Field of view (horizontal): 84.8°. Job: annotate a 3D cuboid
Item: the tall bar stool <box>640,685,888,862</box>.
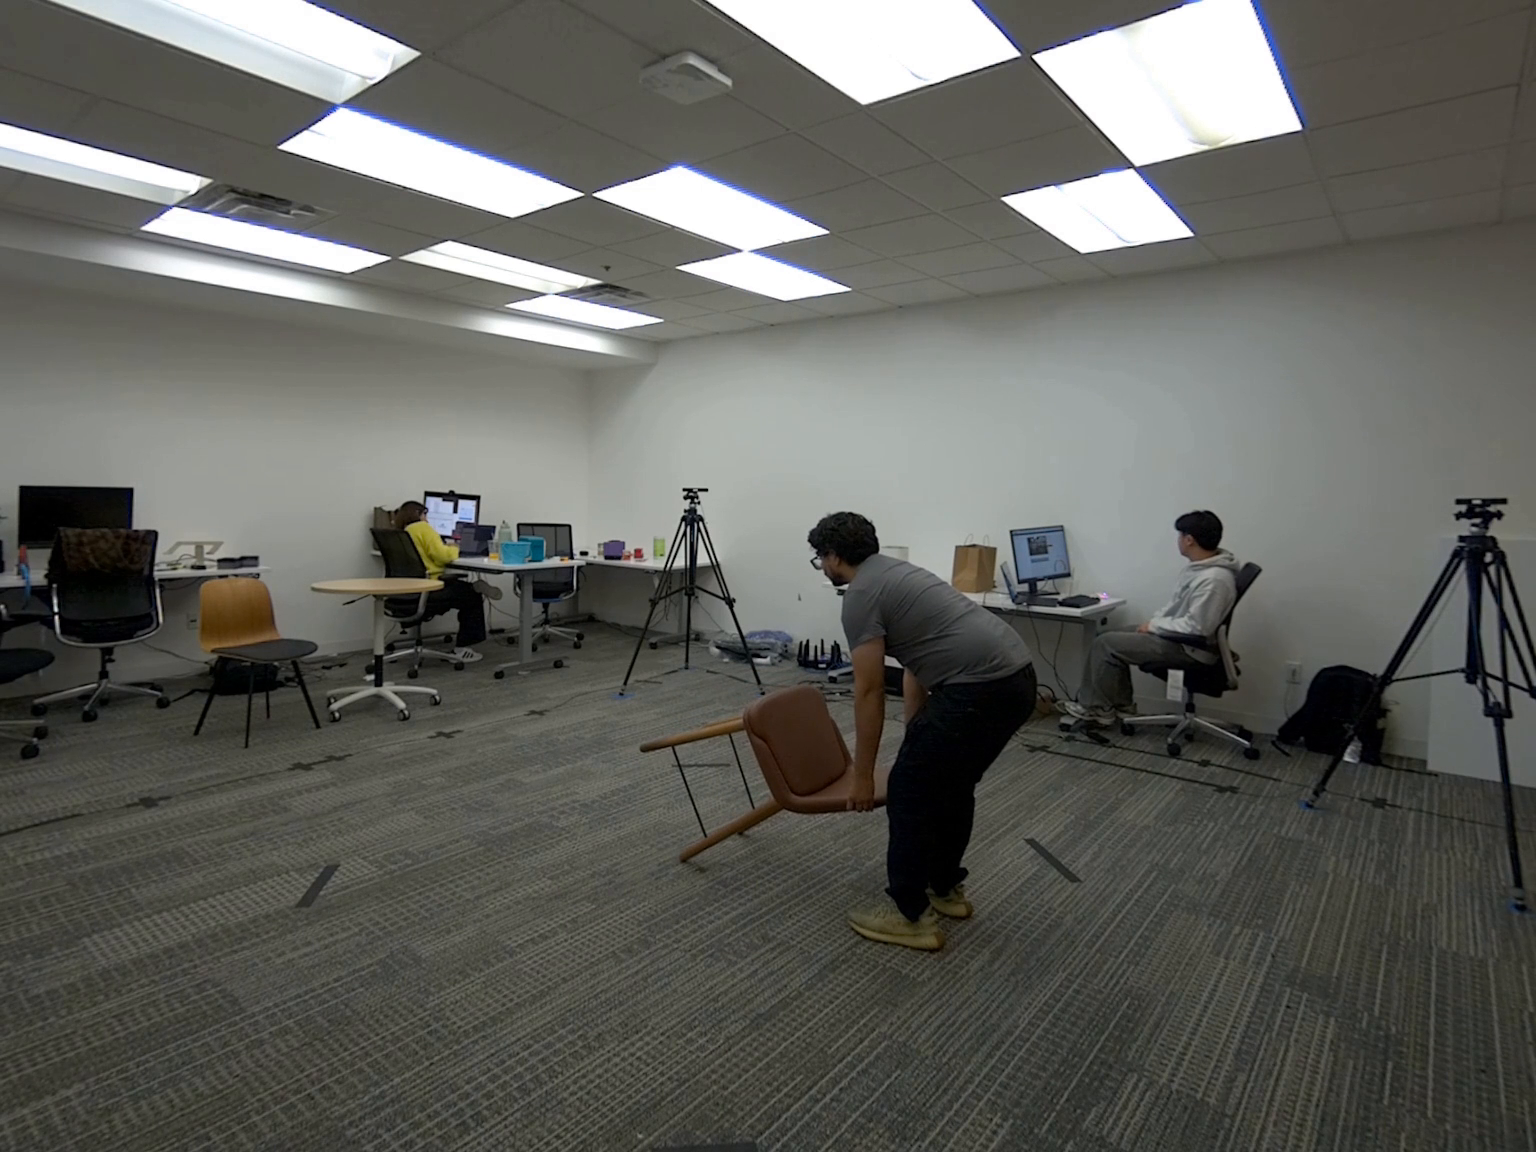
[{"bbox_3d":[0.013,0.679,3.116,0.902,0.475,0.443,-27,-14,35],"label":"tall bar stool"}]
